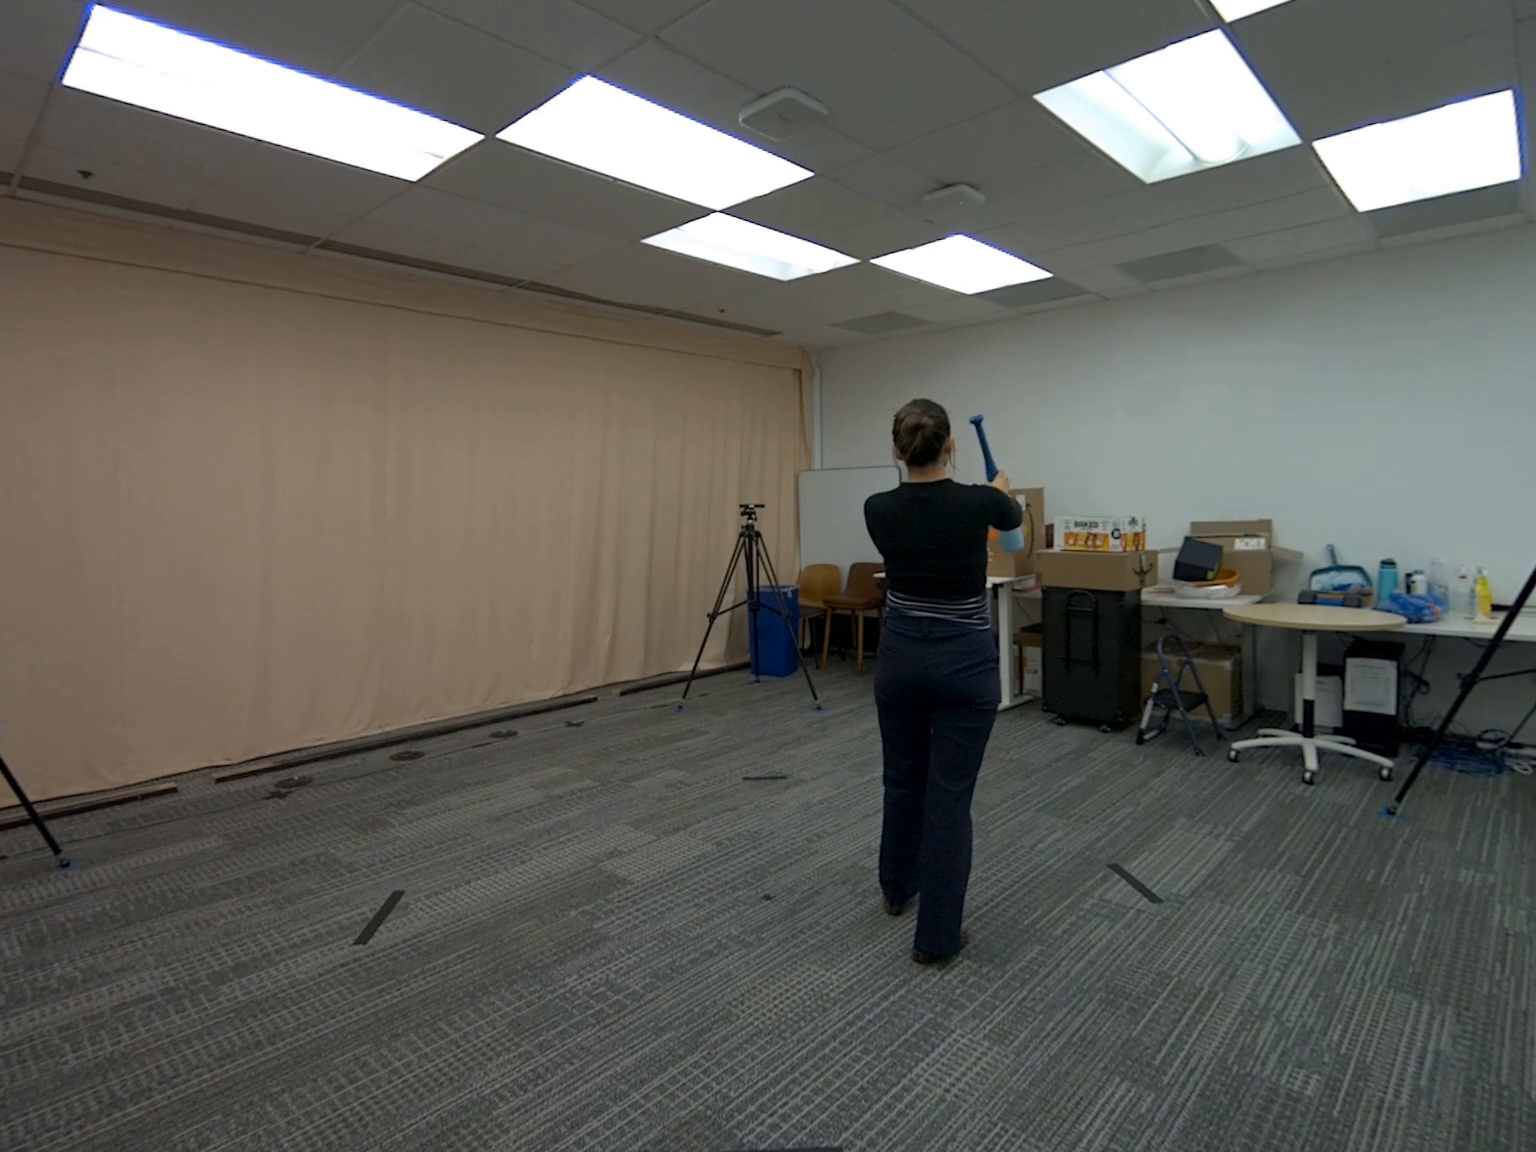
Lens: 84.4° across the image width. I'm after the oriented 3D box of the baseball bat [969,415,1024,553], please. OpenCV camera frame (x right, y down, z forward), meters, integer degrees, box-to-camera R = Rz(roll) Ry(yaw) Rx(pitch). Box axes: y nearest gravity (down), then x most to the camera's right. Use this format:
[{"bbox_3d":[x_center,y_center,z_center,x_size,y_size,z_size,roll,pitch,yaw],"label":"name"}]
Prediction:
[{"bbox_3d":[0.840,-0.343,3.081,0.089,0.534,0.090,-21,17,5],"label":"baseball bat"}]
